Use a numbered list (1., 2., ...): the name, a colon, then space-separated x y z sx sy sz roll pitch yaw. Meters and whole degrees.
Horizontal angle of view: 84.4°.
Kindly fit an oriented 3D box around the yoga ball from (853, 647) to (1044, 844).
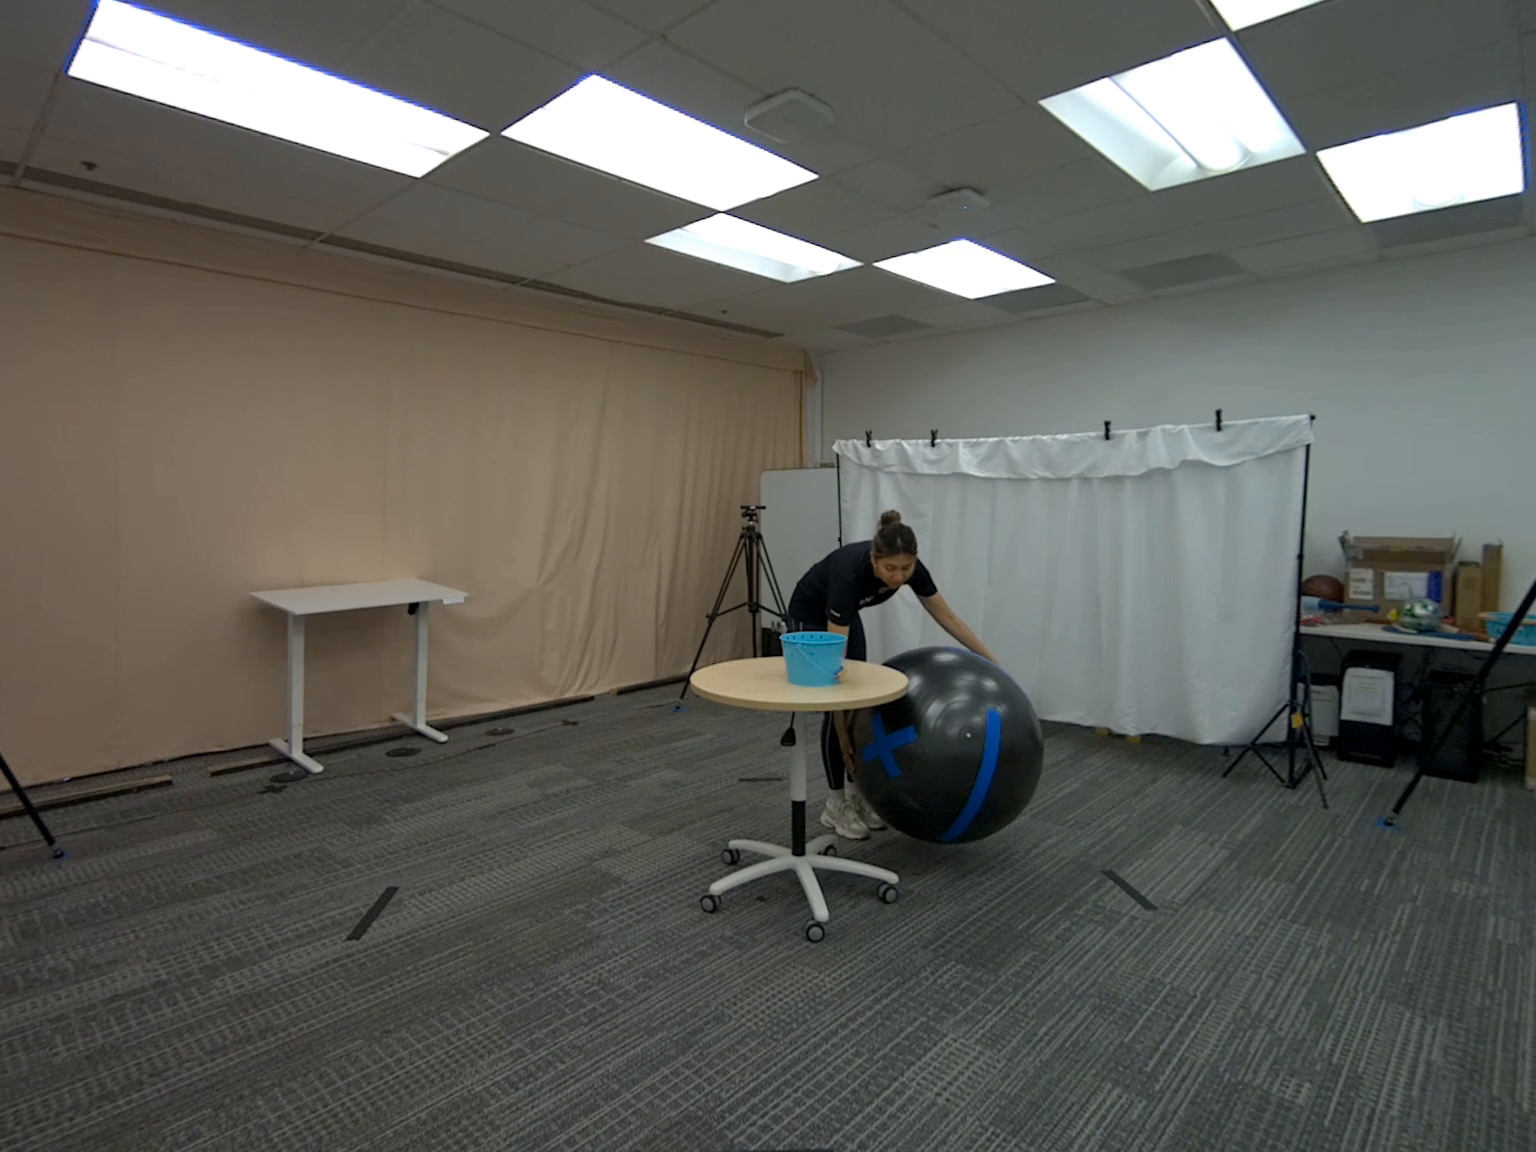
1. yoga ball: 0.695 0.660 3.331 0.757 0.756 0.761 0 4 -2
